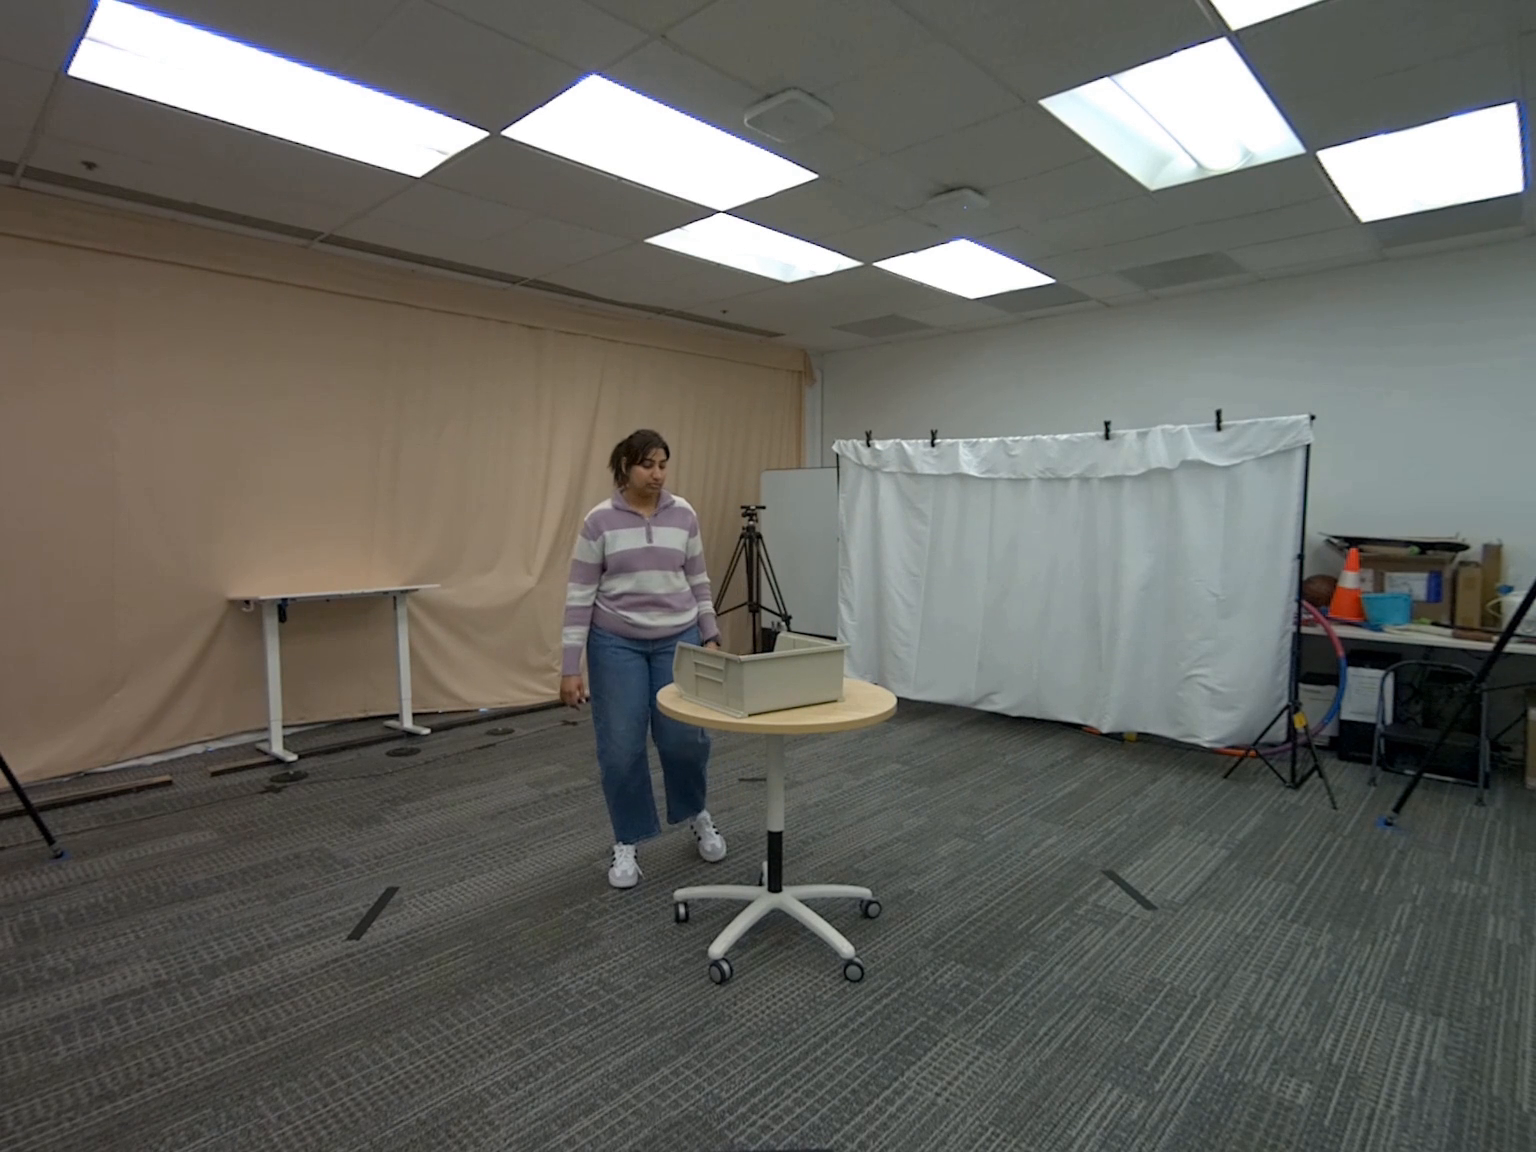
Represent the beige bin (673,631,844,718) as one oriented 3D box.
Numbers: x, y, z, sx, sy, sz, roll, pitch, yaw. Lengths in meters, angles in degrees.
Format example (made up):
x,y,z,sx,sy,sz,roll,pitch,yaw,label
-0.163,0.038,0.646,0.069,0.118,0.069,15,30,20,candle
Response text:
x,y,z,sx,sy,sz,roll,pitch,yaw,label
-0.022,0.300,2.644,0.410,0.188,0.389,-3,6,-36,beige bin
